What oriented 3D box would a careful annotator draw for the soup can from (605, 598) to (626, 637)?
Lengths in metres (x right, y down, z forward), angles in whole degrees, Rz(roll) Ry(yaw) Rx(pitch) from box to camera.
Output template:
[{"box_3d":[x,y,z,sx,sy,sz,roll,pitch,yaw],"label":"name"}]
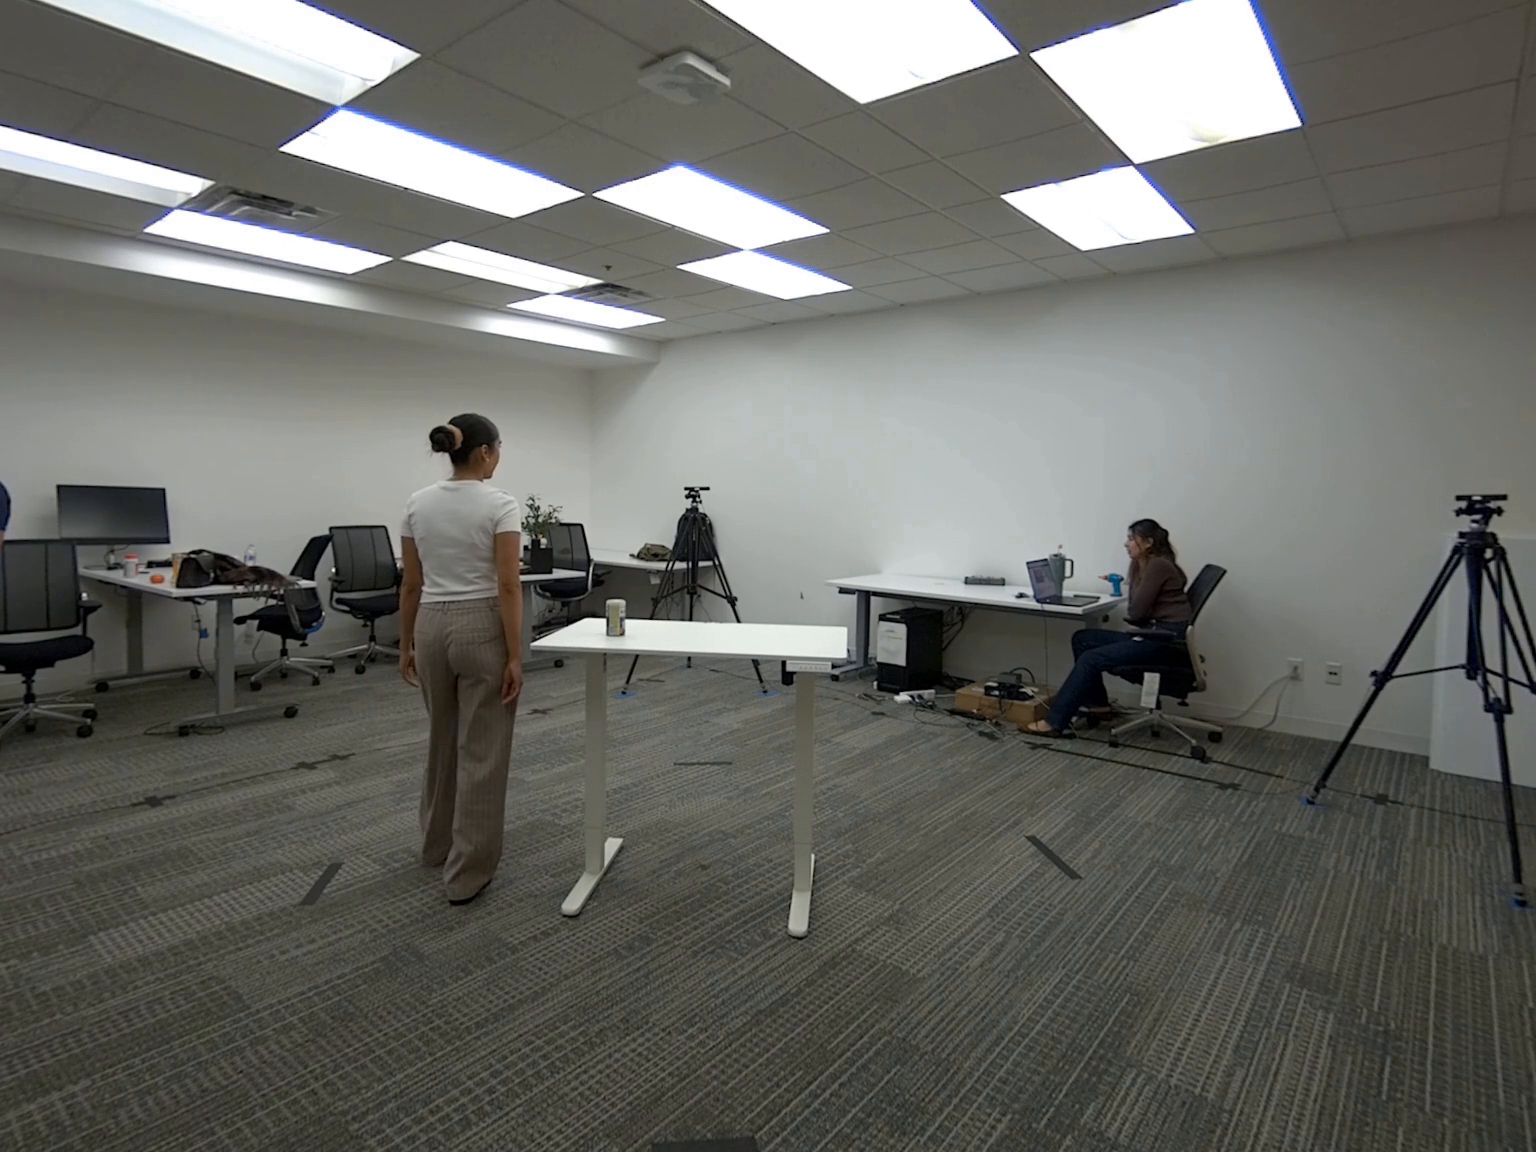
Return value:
[{"box_3d":[-0.530,0.145,2.907,0.067,0.121,0.067,0,4,-2],"label":"soup can"}]
